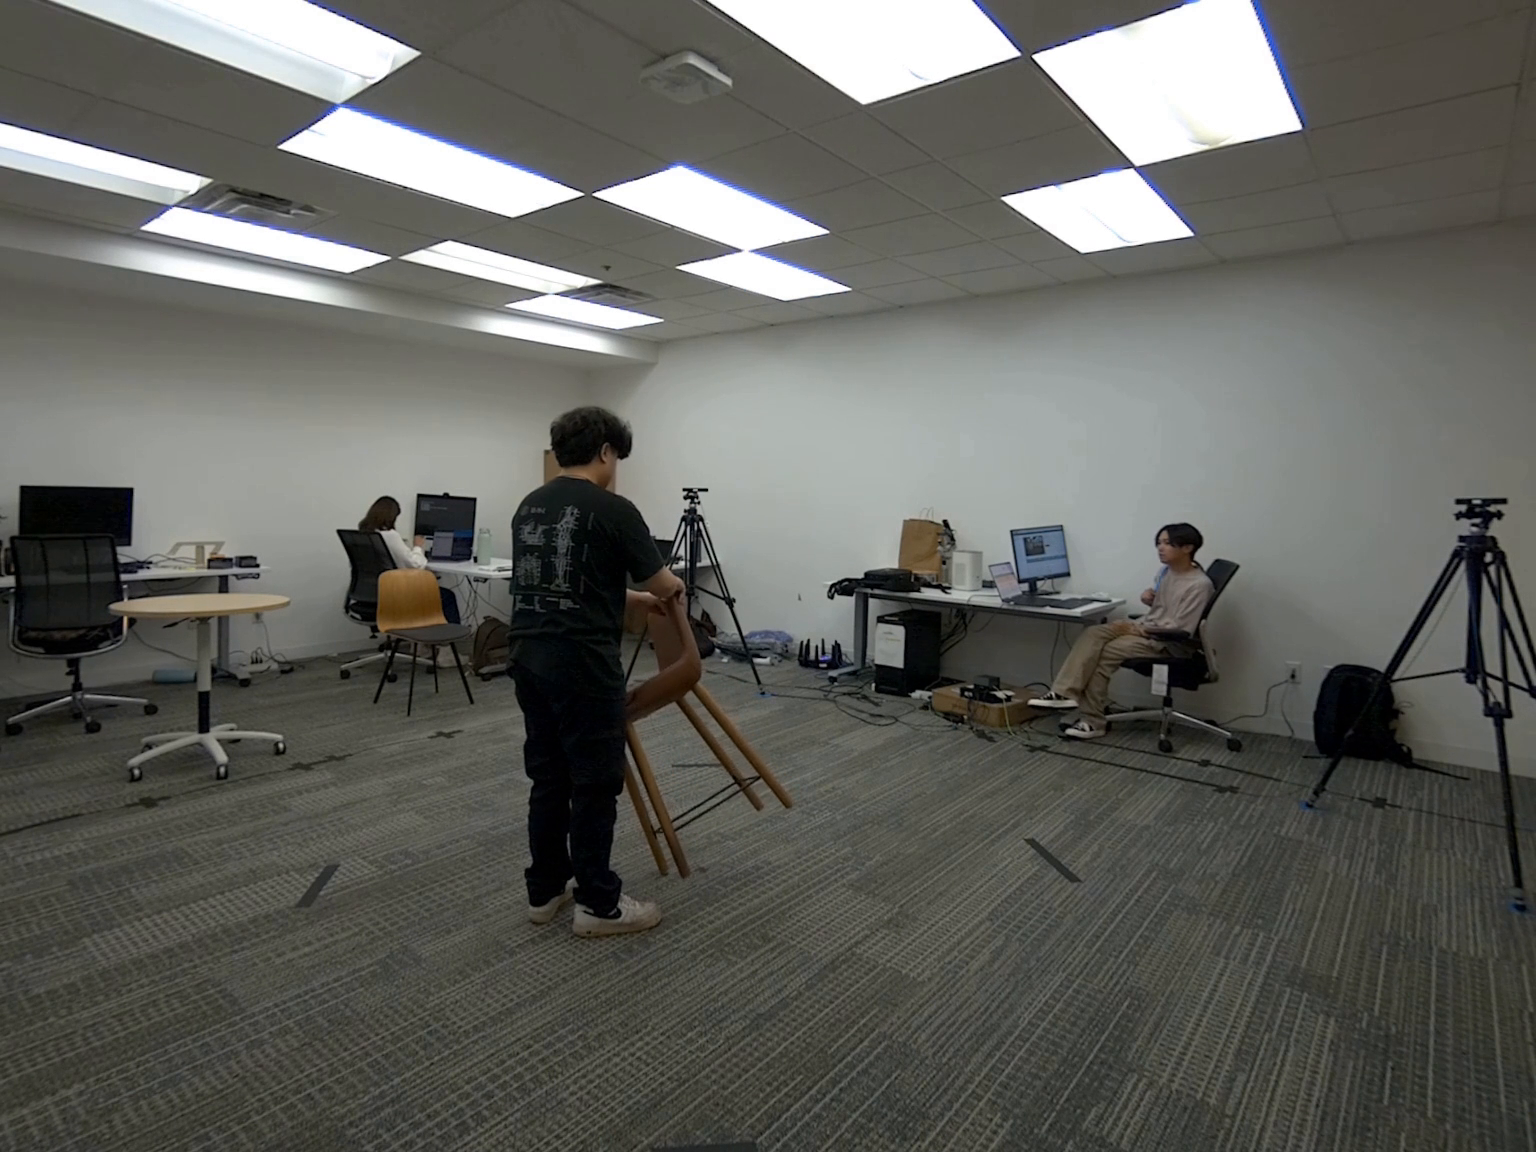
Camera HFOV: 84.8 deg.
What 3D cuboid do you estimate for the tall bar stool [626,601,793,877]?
[{"bbox_3d":[-0.366,0.546,3.048,0.462,0.902,0.455,-25,-10,-22],"label":"tall bar stool"}]
